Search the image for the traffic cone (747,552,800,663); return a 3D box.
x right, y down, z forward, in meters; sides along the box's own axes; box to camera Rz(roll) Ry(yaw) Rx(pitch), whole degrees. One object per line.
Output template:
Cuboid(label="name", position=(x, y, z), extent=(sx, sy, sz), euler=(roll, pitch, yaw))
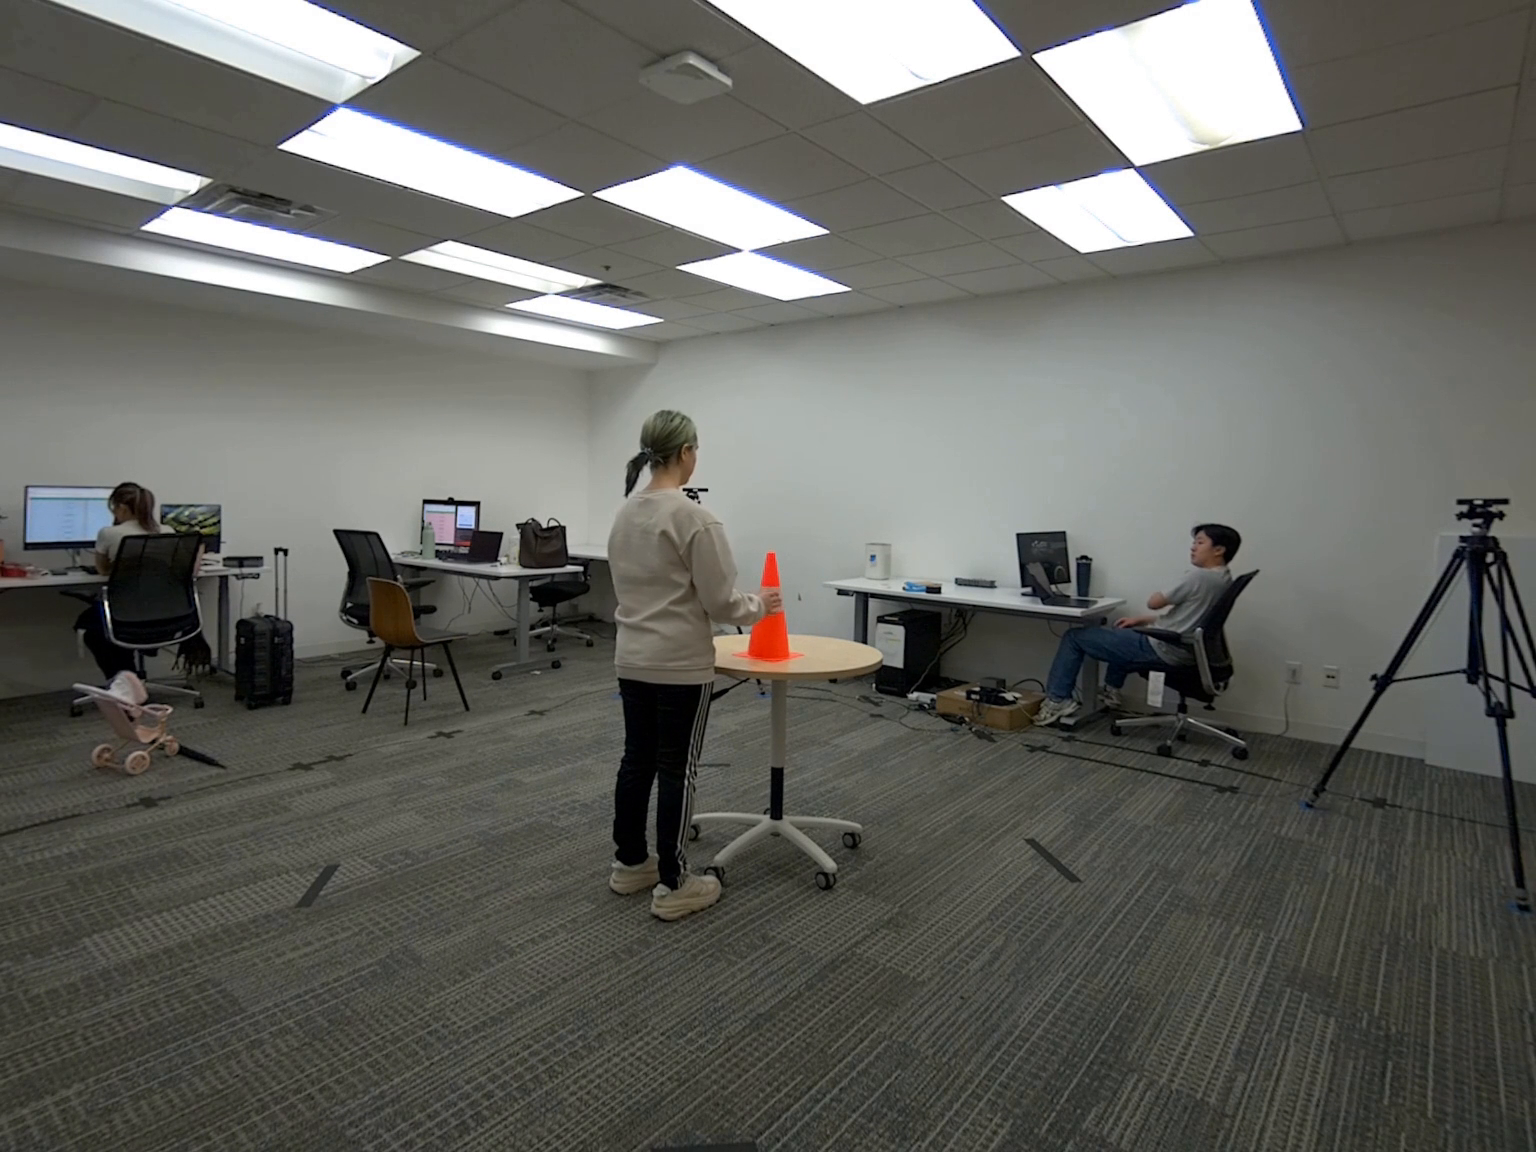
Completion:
Cuboid(label="traffic cone", position=(0.001, 0.106, 3.116), extent=(0.211, 0.382, 0.198), euler=(6, 6, 32))
